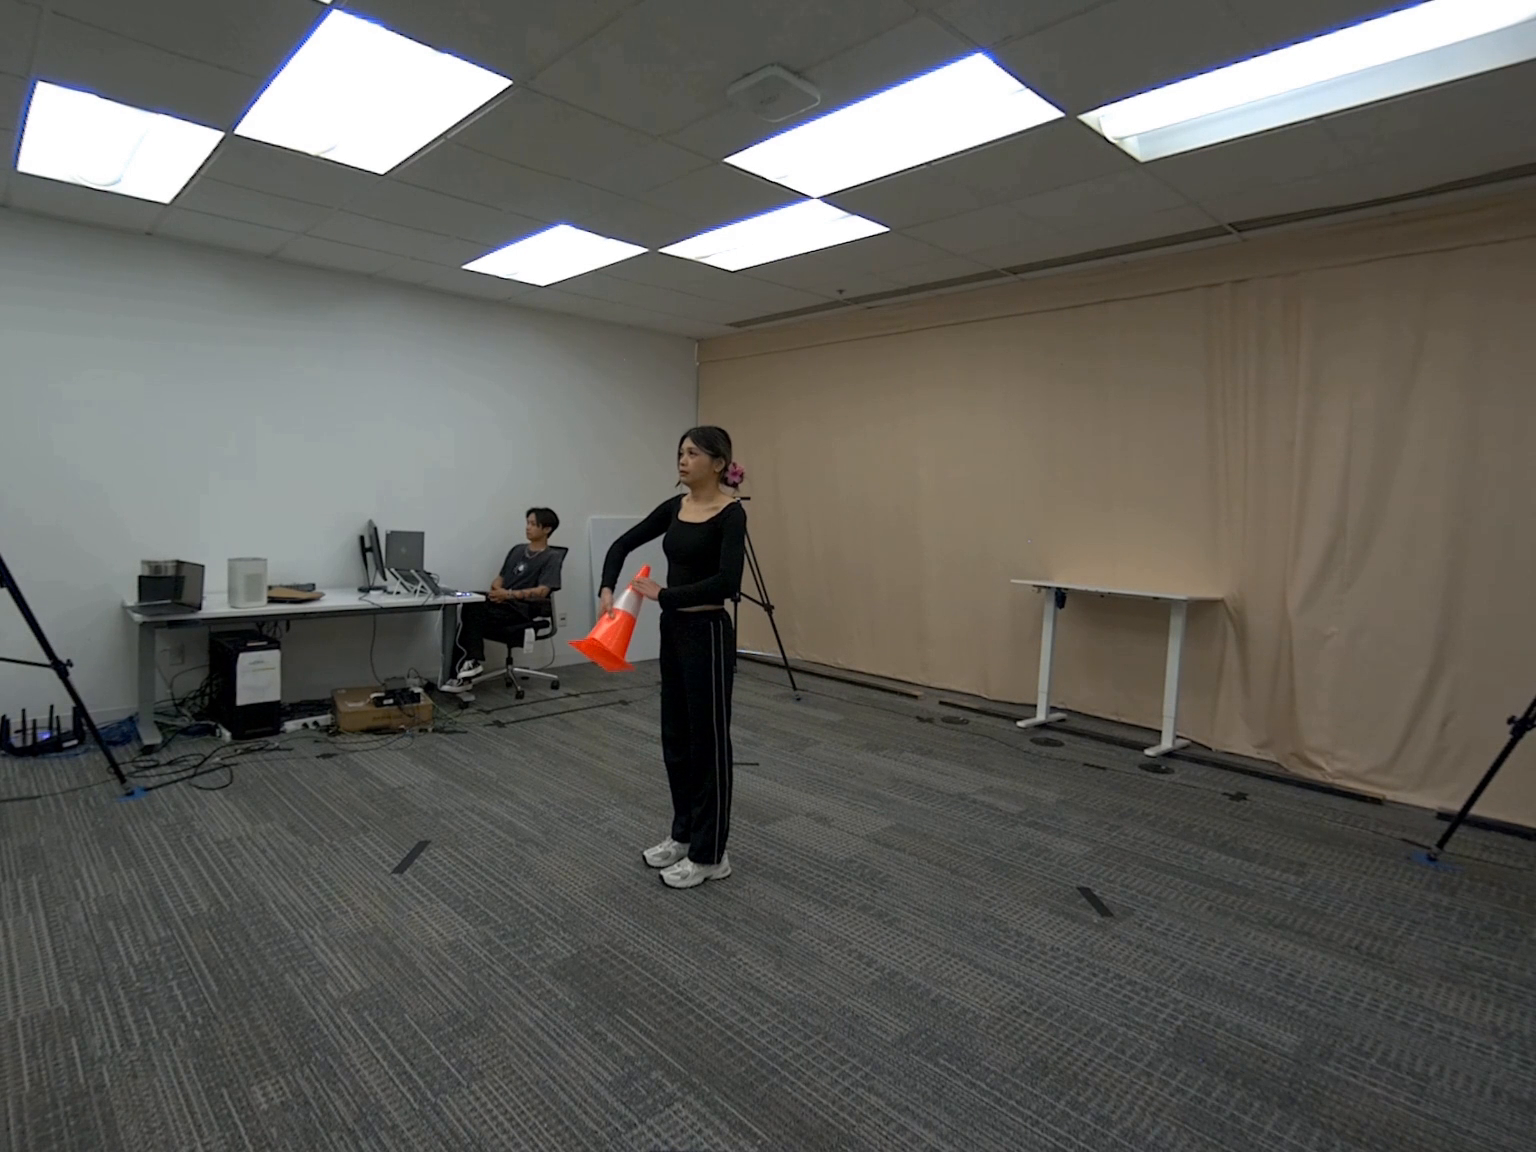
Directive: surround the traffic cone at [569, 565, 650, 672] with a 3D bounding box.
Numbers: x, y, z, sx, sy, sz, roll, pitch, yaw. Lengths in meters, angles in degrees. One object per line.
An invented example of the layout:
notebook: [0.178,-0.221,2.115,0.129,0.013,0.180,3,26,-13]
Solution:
traffic cone: [-0.516,0.131,3.021,0.199,0.387,0.207,36,-30,-21]
